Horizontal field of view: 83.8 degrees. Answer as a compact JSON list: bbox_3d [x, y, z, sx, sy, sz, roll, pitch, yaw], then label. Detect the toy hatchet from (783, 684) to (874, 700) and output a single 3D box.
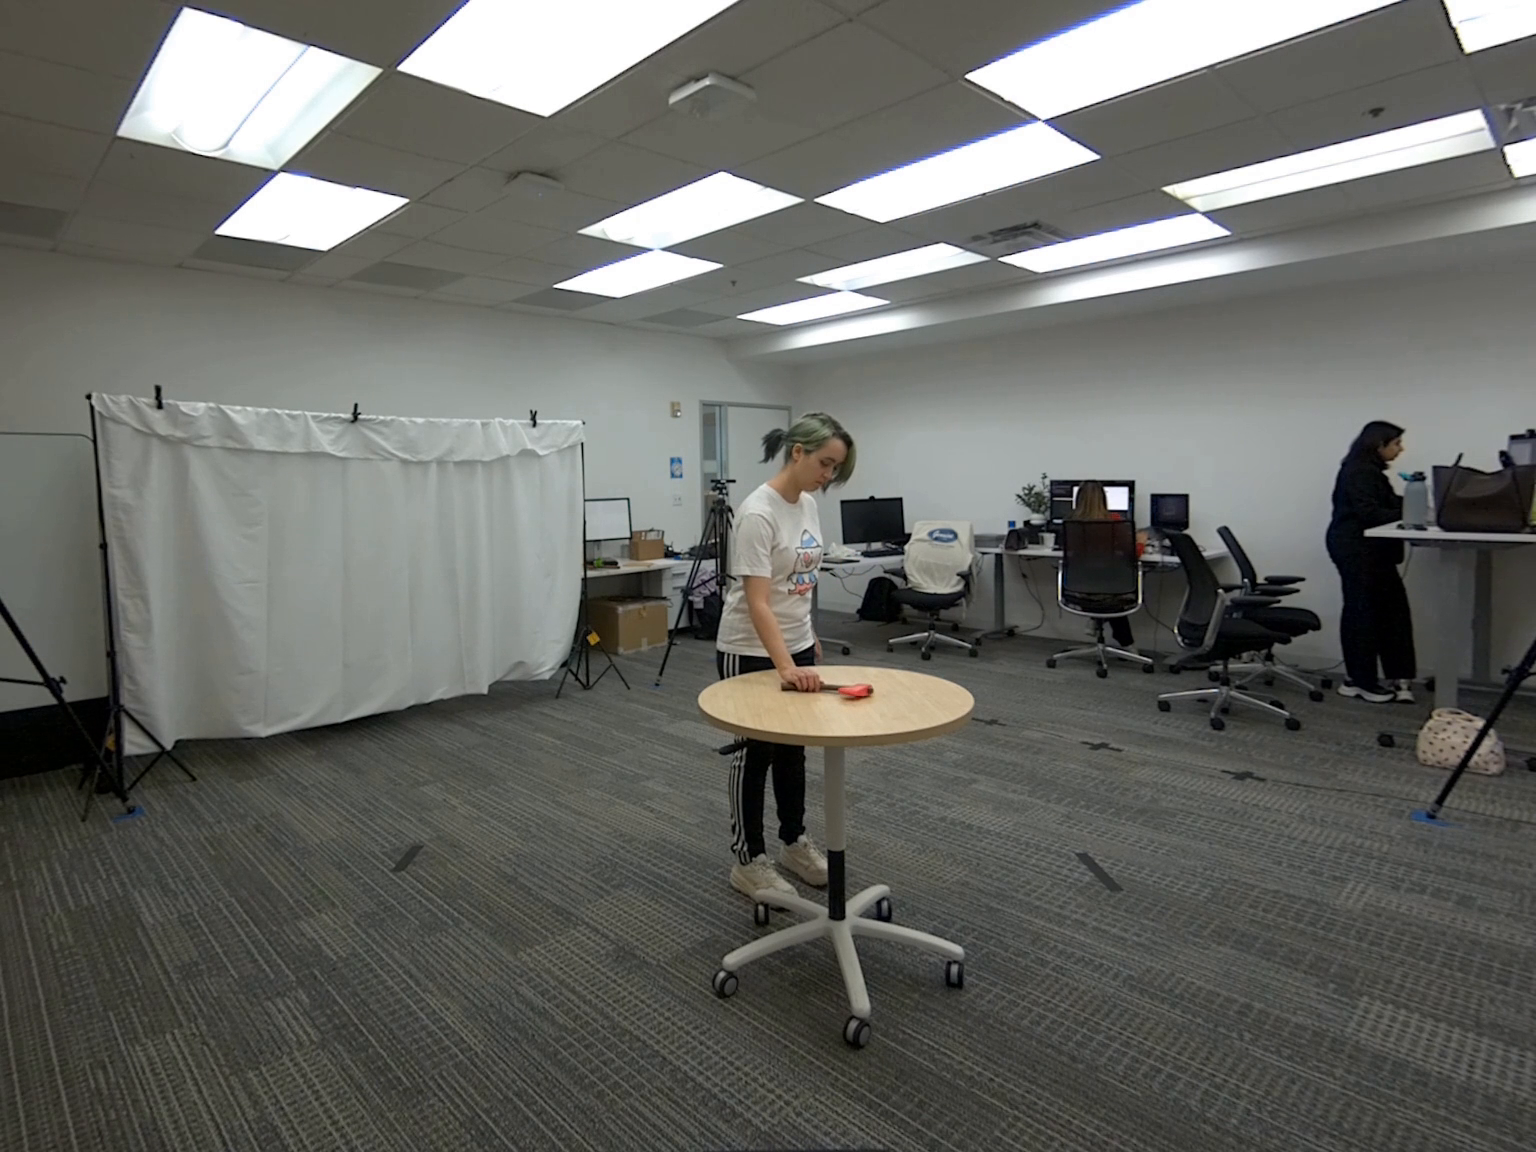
[{"bbox_3d":[0.155,0.319,2.418,0.273,0.029,0.129,-2,-1,10],"label":"toy hatchet"}]
